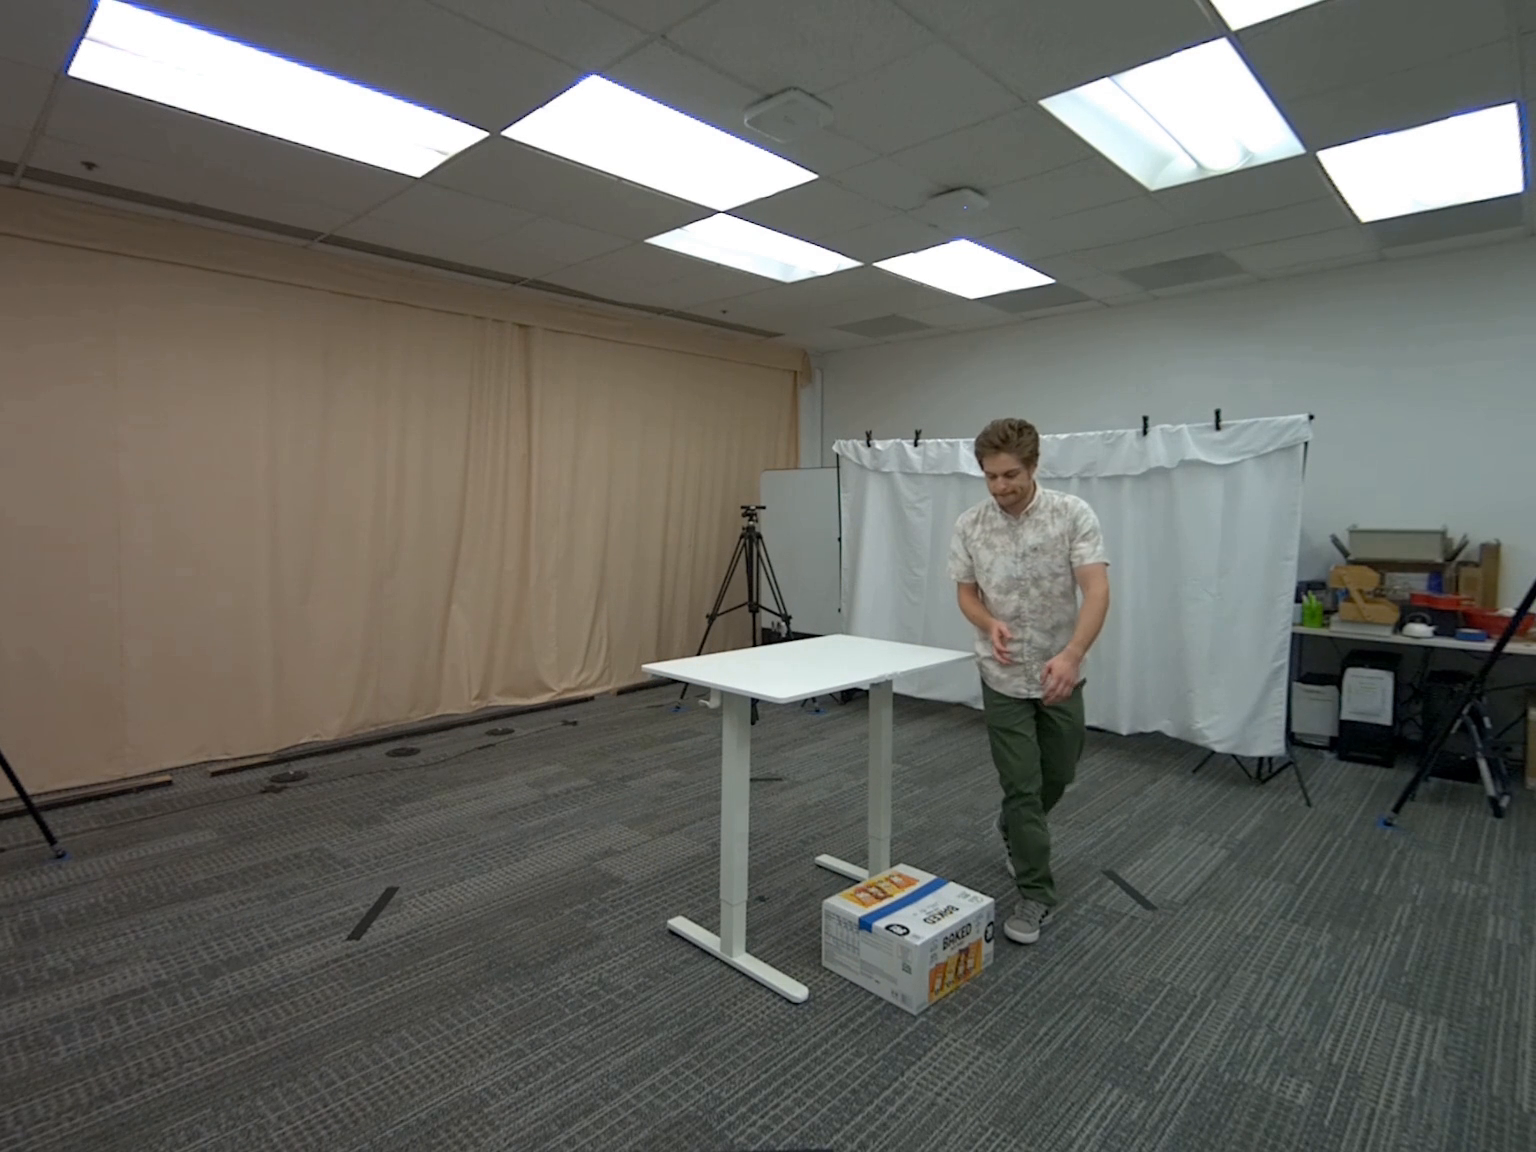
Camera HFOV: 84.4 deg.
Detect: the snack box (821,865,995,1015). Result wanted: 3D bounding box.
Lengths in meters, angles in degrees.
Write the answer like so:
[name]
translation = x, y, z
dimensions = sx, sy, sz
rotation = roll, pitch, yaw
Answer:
[snack box]
translation = 0.430, 1.081, 2.536
dimensions = 0.393, 0.205, 0.352
rotation = -4, 6, -43
